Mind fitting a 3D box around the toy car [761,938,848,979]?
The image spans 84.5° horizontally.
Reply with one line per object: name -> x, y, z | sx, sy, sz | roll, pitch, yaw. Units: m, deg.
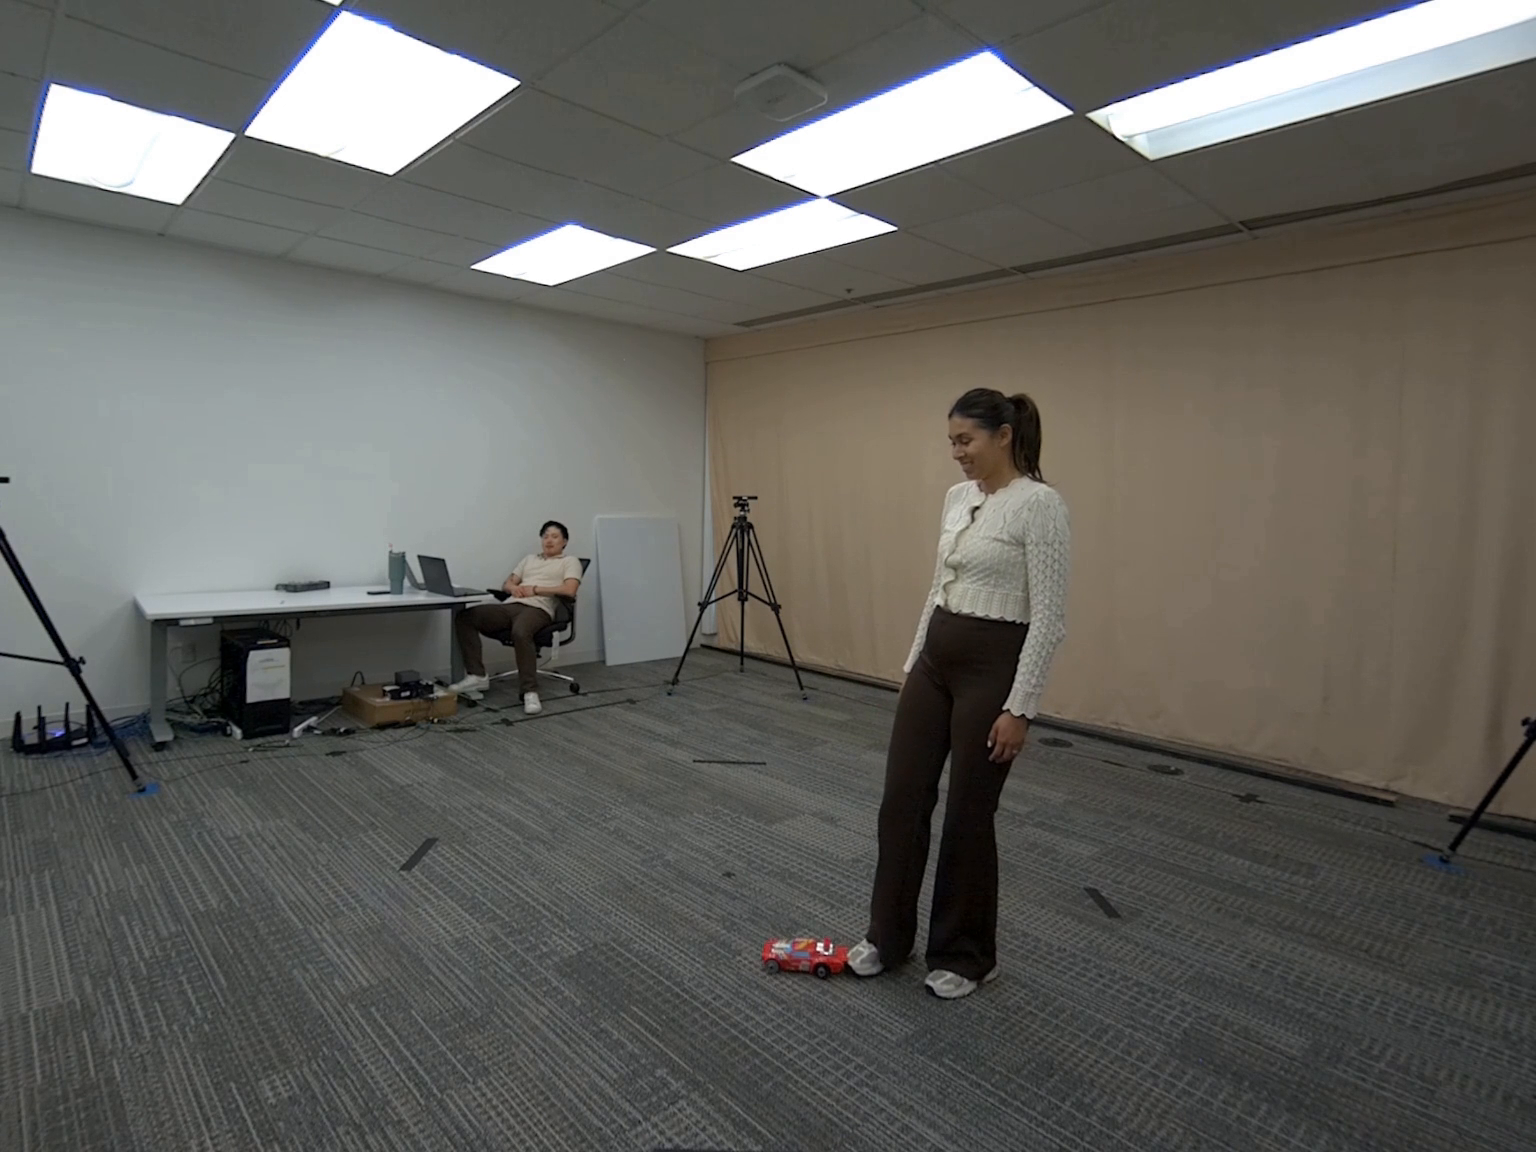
toy car -> 0.111, 1.130, 2.504 | 0.256, 0.083, 0.129 | -9, 2, 9
